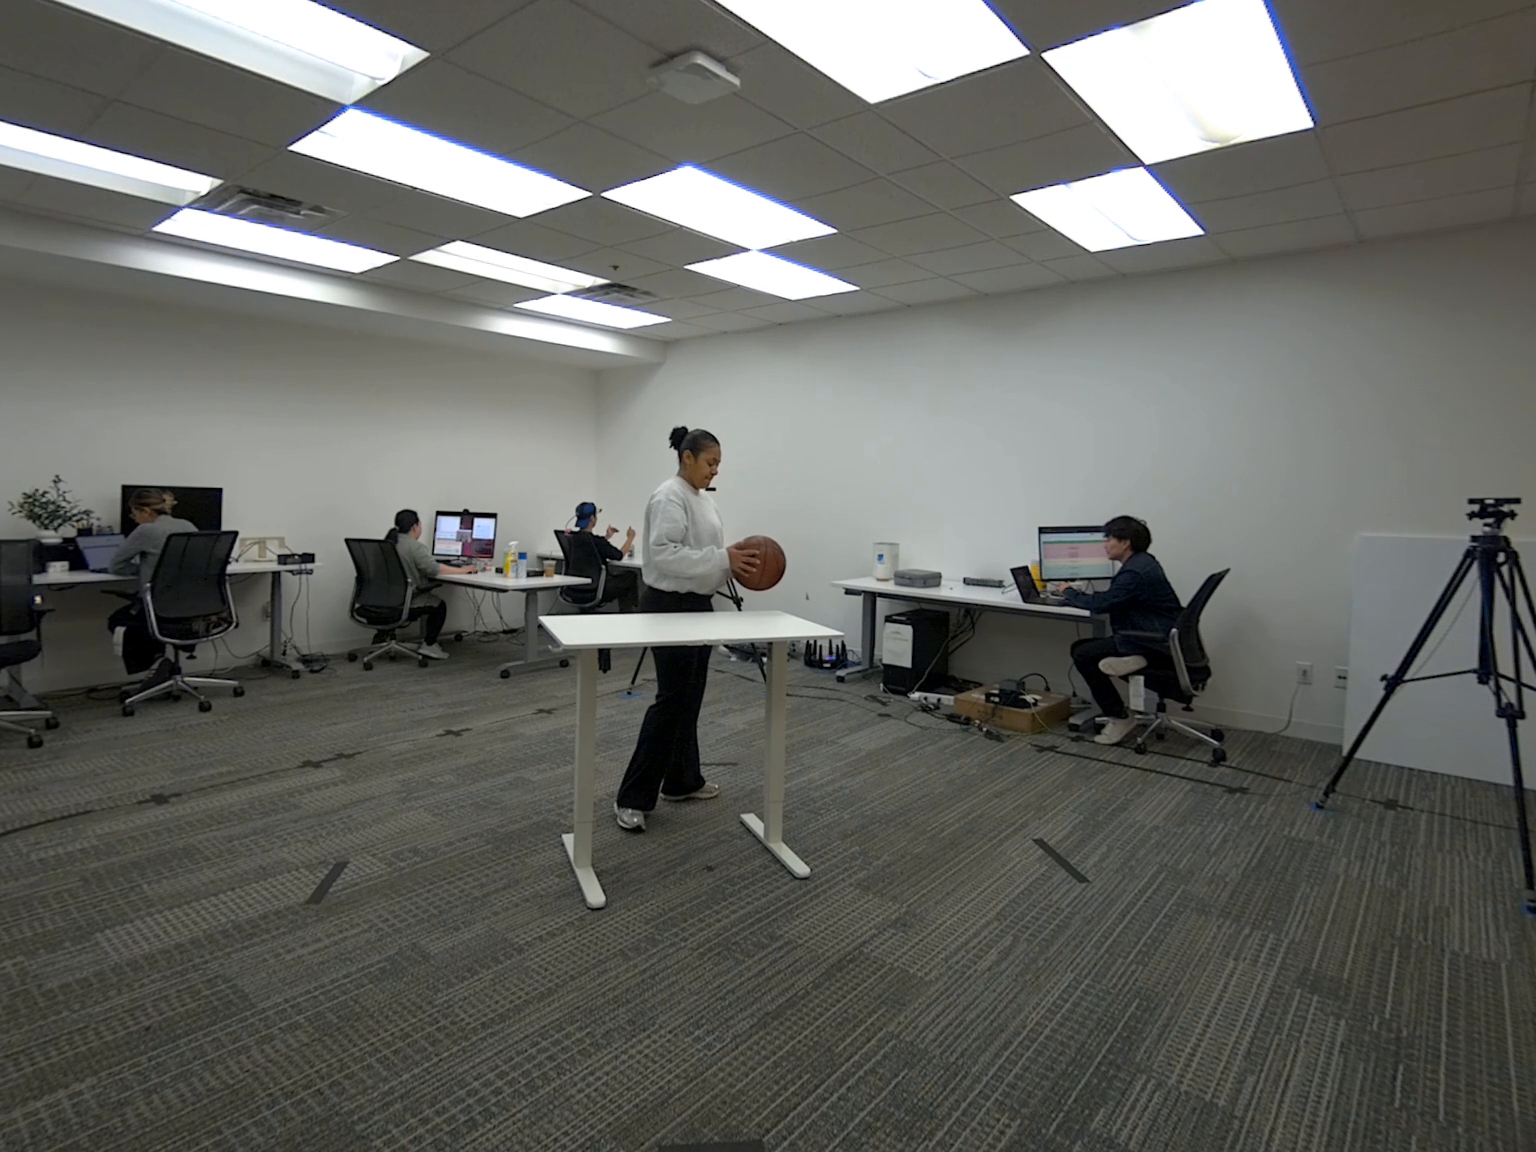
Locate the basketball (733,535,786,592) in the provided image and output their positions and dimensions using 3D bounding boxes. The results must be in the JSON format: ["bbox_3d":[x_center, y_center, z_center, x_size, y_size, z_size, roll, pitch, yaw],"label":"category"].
[{"bbox_3d":[-0.070,-0.053,3.616,0.235,0.235,0.237,1,4,-2],"label":"basketball"}]
